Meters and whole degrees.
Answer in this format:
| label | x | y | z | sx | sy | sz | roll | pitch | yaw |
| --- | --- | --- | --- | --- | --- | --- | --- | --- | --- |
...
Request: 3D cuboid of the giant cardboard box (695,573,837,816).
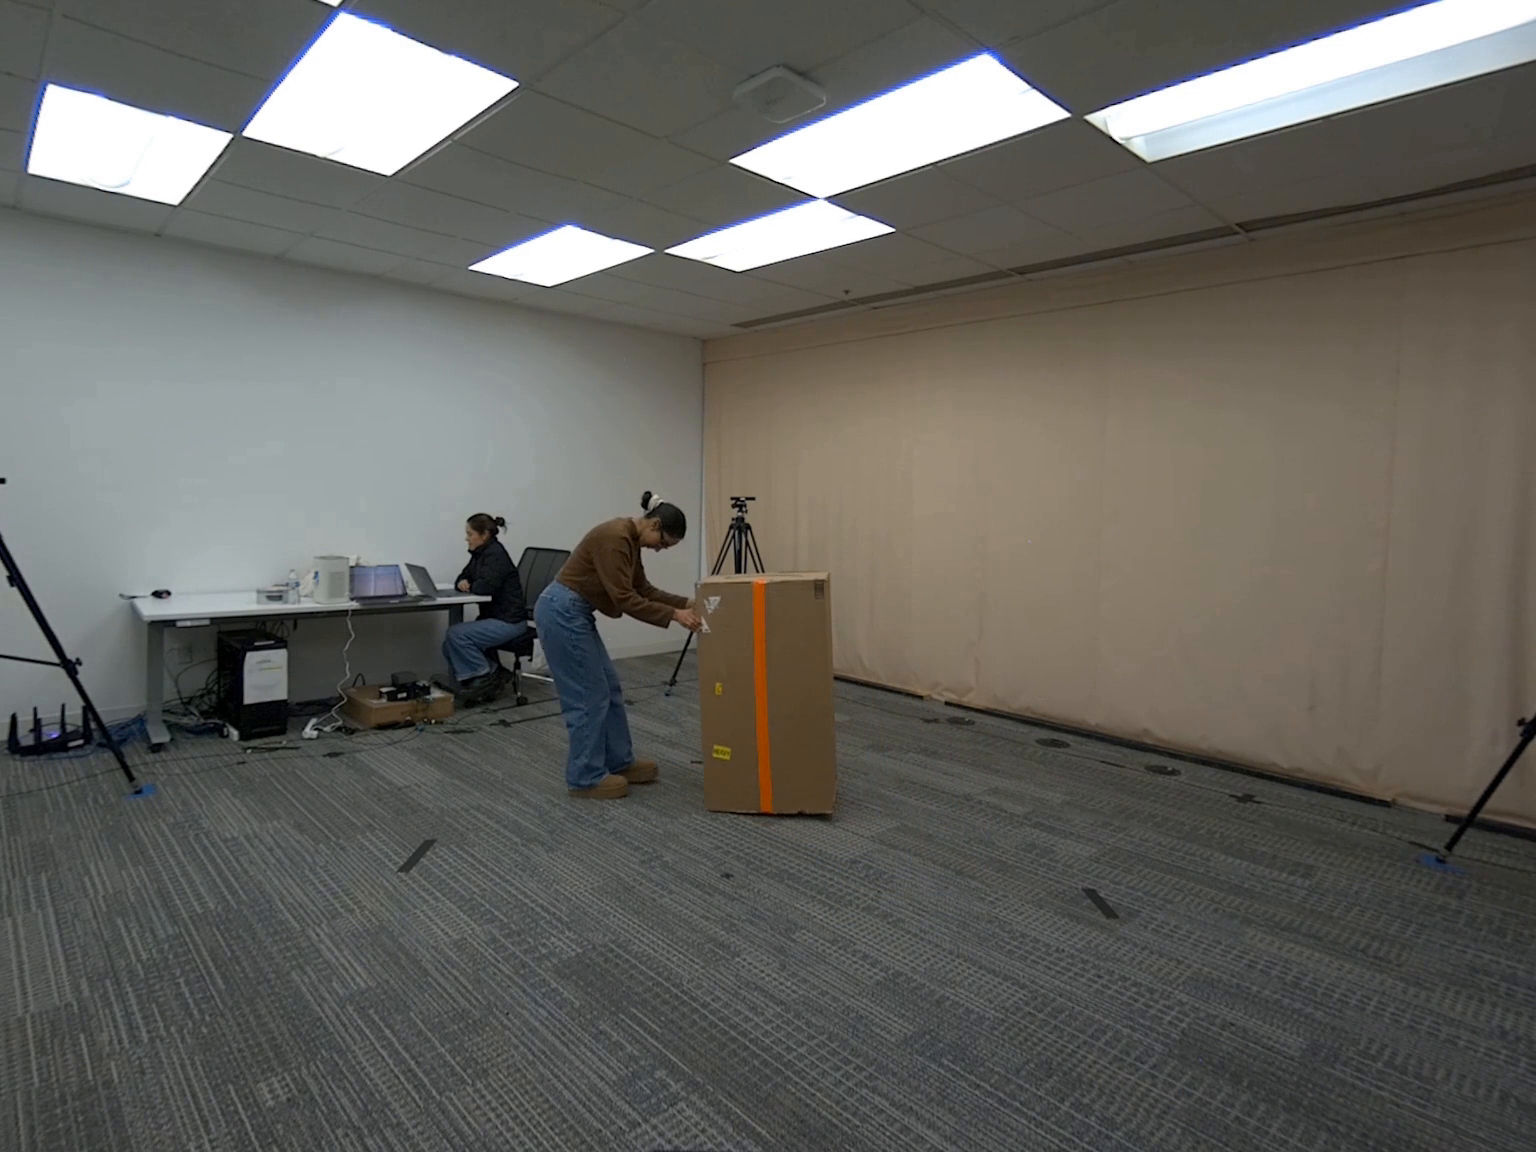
| label | x | y | z | sx | sy | sz | roll | pitch | yaw |
| --- | --- | --- | --- | --- | --- | --- | --- | --- | --- |
| giant cardboard box | -0.002 | 0.517 | 3.874 | 0.582 | 1.024 | 0.424 | -1 | 3 | 9 |
